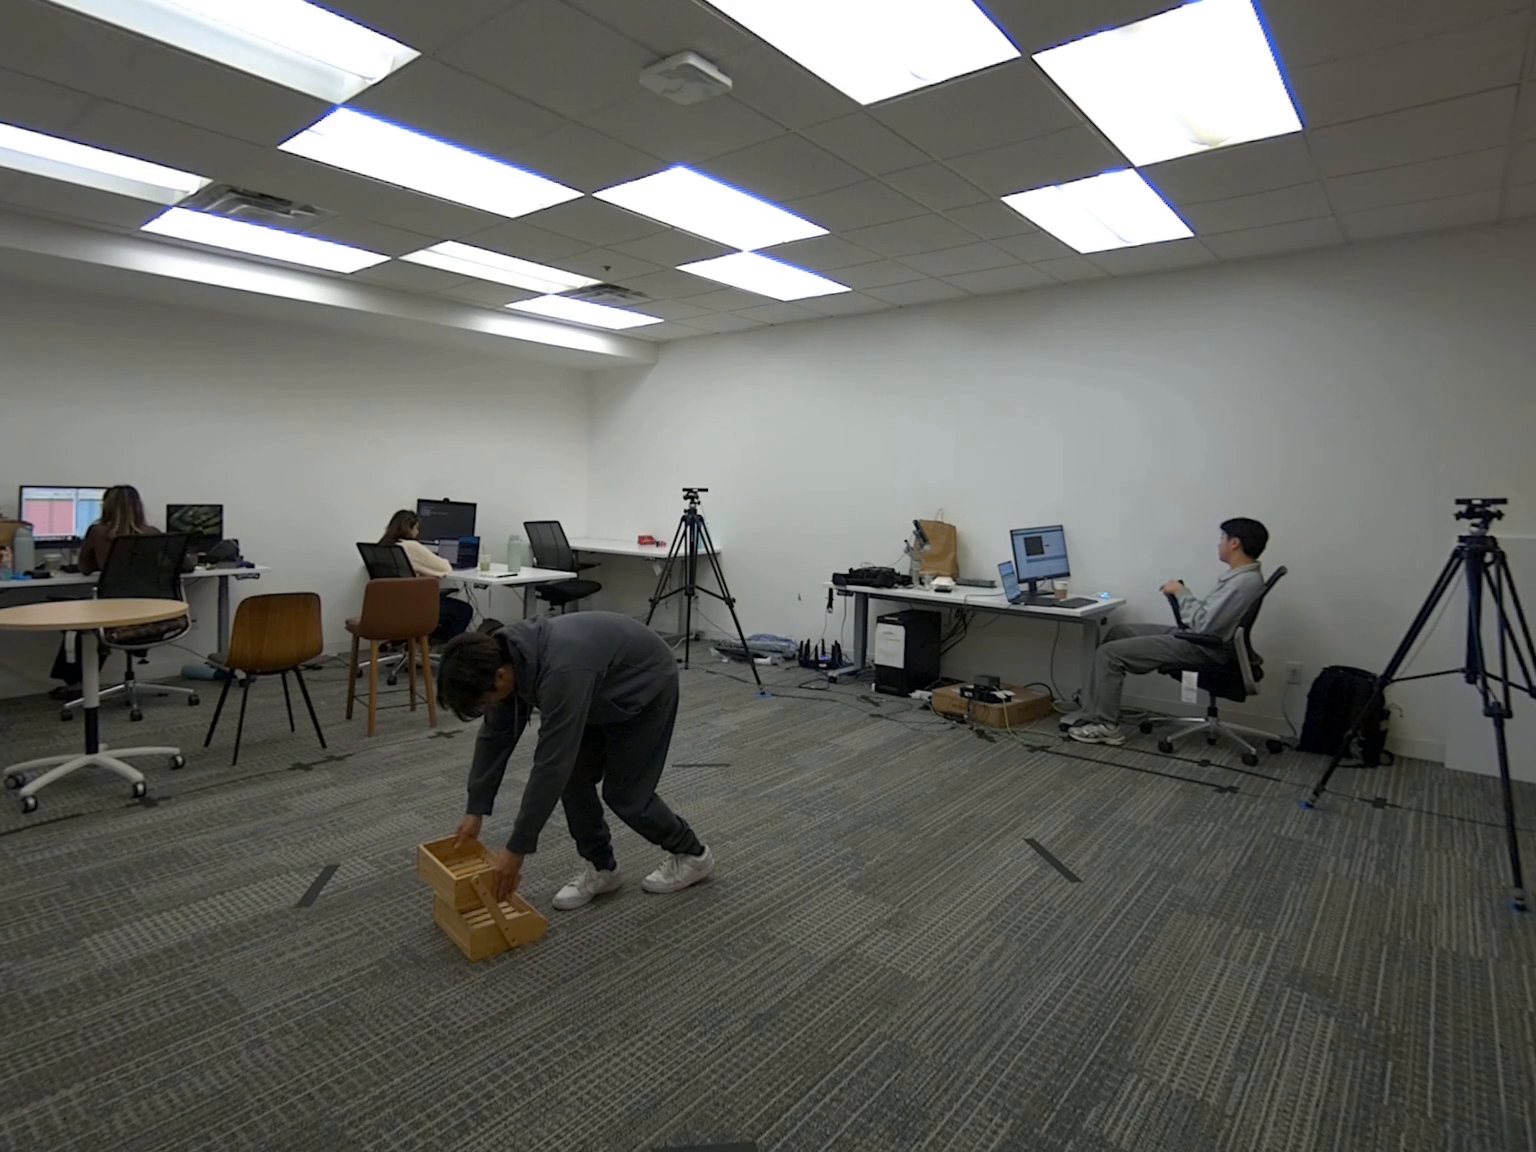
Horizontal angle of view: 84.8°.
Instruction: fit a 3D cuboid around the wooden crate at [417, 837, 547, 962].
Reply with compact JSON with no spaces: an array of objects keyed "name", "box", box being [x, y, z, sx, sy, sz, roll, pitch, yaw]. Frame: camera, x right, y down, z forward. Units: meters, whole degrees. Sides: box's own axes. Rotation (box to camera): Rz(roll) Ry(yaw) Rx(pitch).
[{"name":"wooden crate","box":[-0.897,0.967,2.644,0.293,0.272,0.335,-3,6,-41]}]
